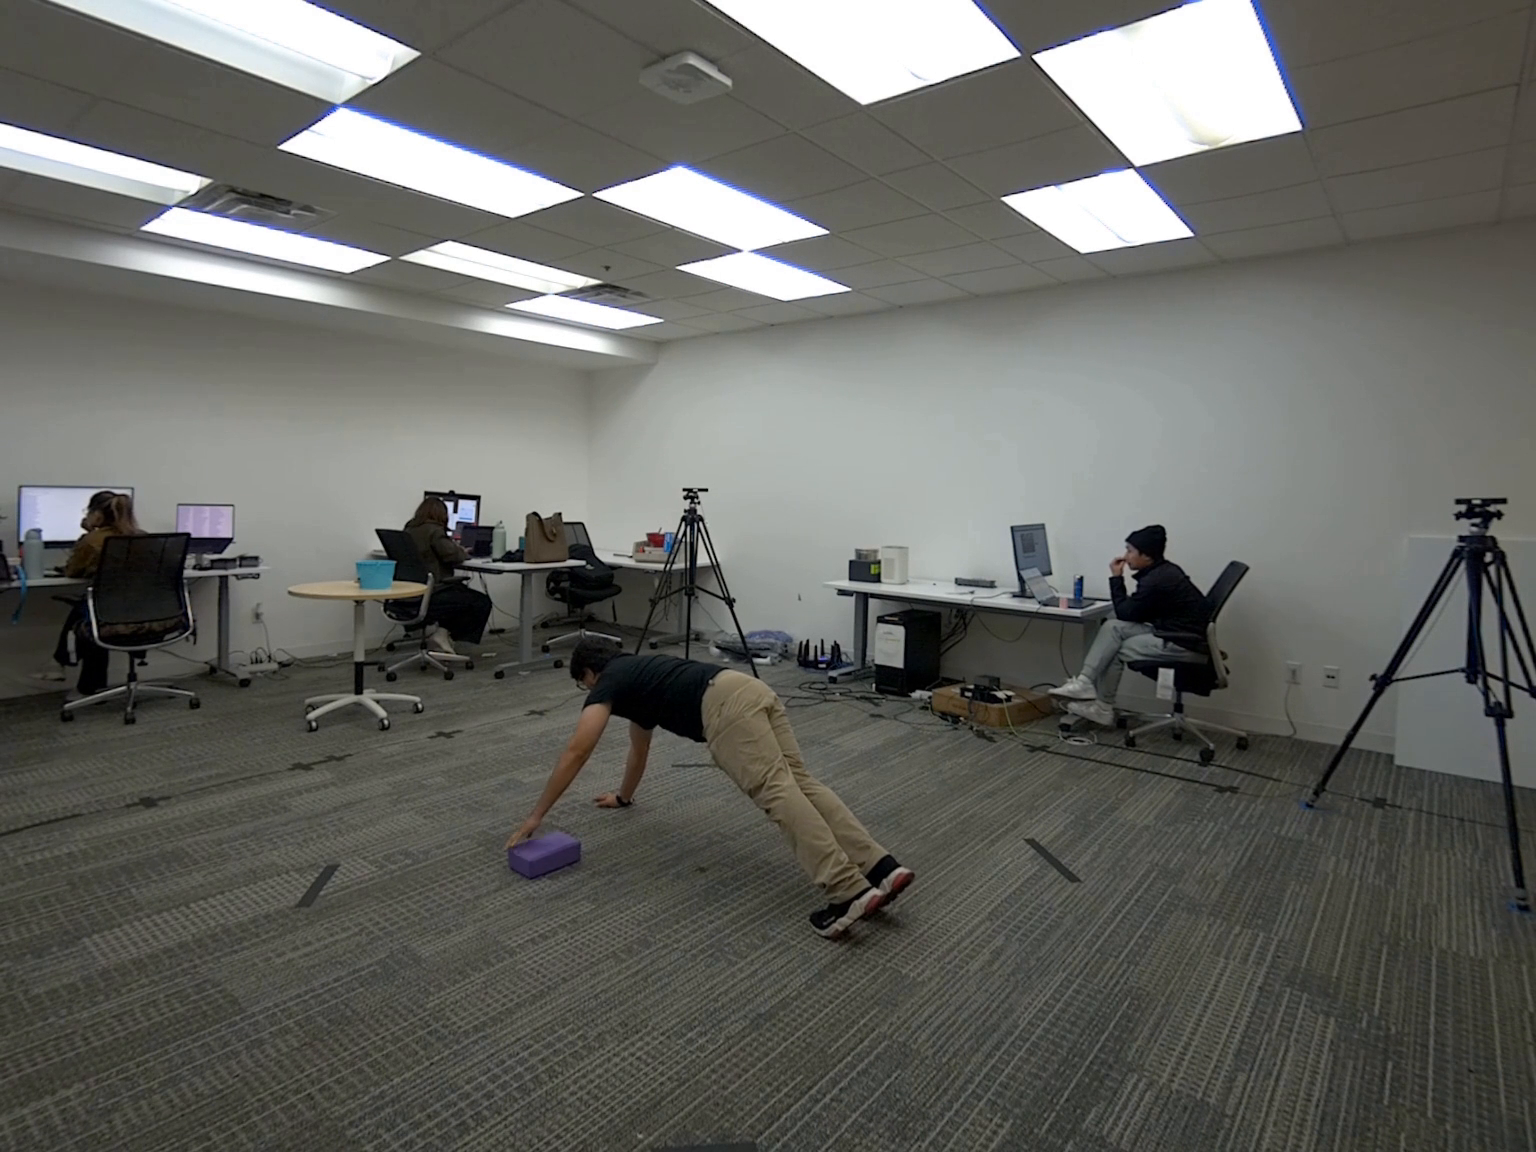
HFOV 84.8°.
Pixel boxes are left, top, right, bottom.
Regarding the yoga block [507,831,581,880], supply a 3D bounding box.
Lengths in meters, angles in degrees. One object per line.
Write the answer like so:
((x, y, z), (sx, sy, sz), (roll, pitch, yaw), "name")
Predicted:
((-0.829, 1.018, 3.127), (0.154, 0.076, 0.223), (5, 8, 40), "yoga block")
